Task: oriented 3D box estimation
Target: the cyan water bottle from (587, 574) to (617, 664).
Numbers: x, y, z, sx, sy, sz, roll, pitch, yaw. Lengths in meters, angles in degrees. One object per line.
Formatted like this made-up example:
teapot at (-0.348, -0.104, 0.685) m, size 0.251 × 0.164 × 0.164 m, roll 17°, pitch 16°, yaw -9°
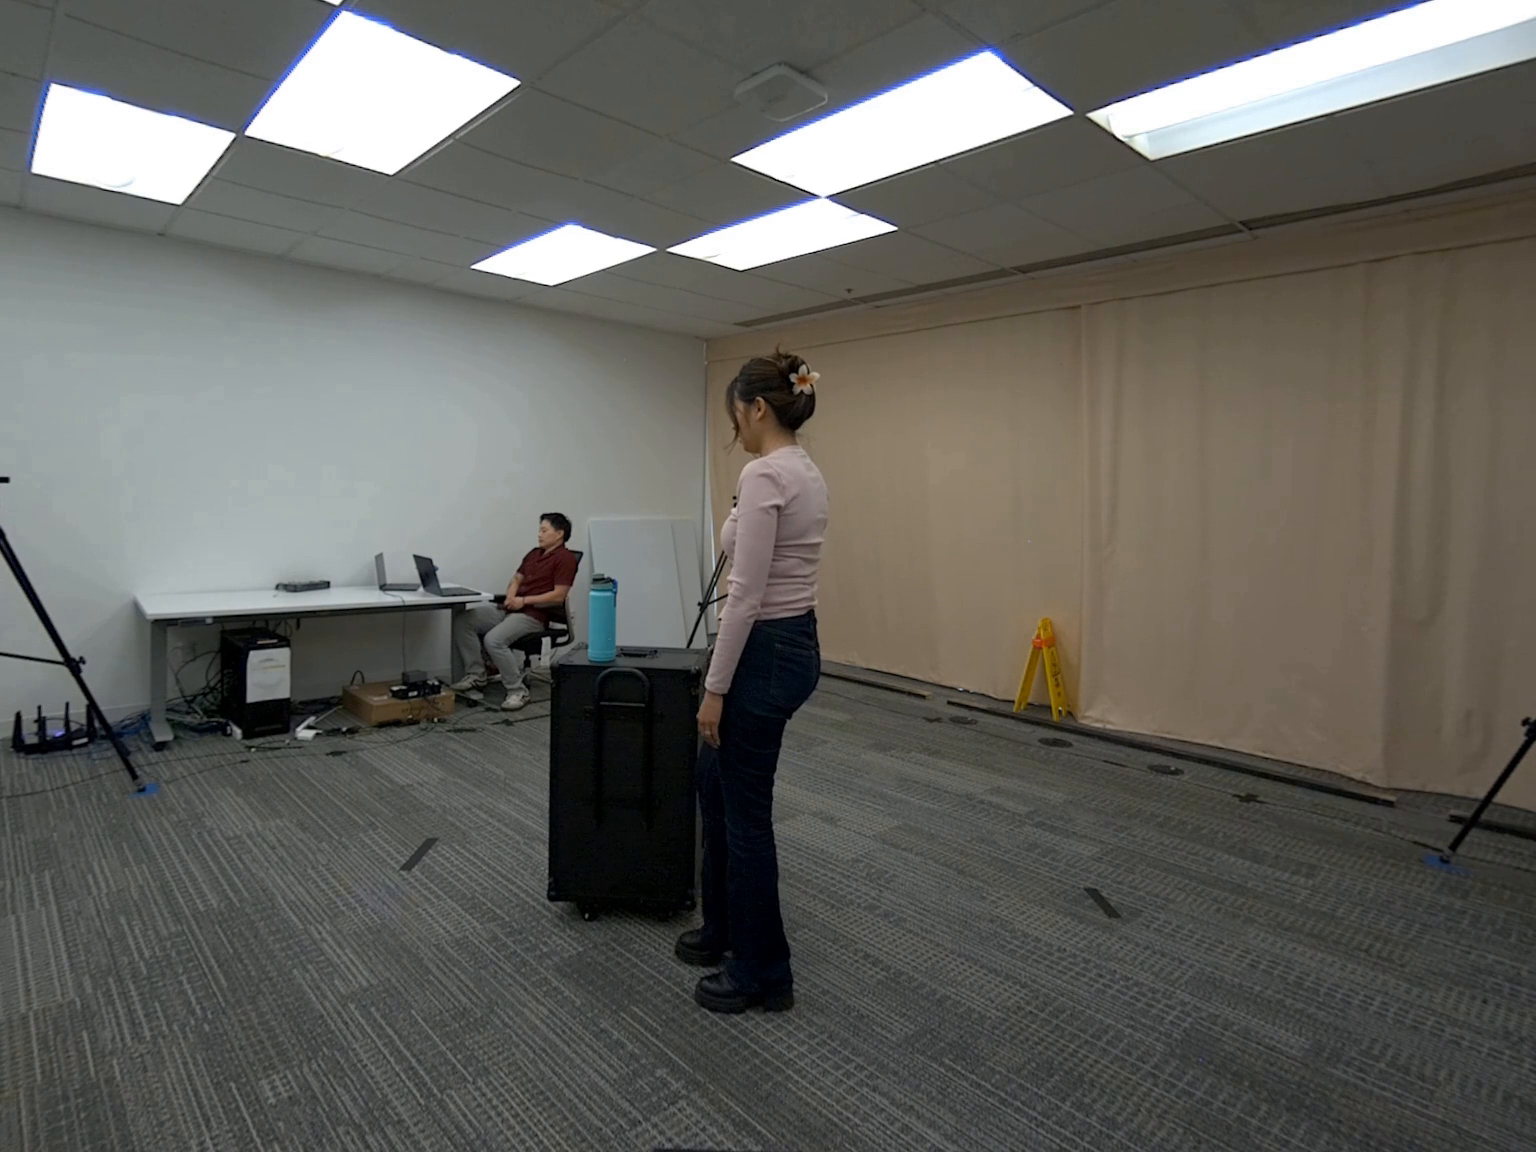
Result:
cyan water bottle at (-0.555, 0.134, 2.770) m, size 0.092 × 0.283 × 0.092 m, roll 4°, pitch 0°, yaw -1°
